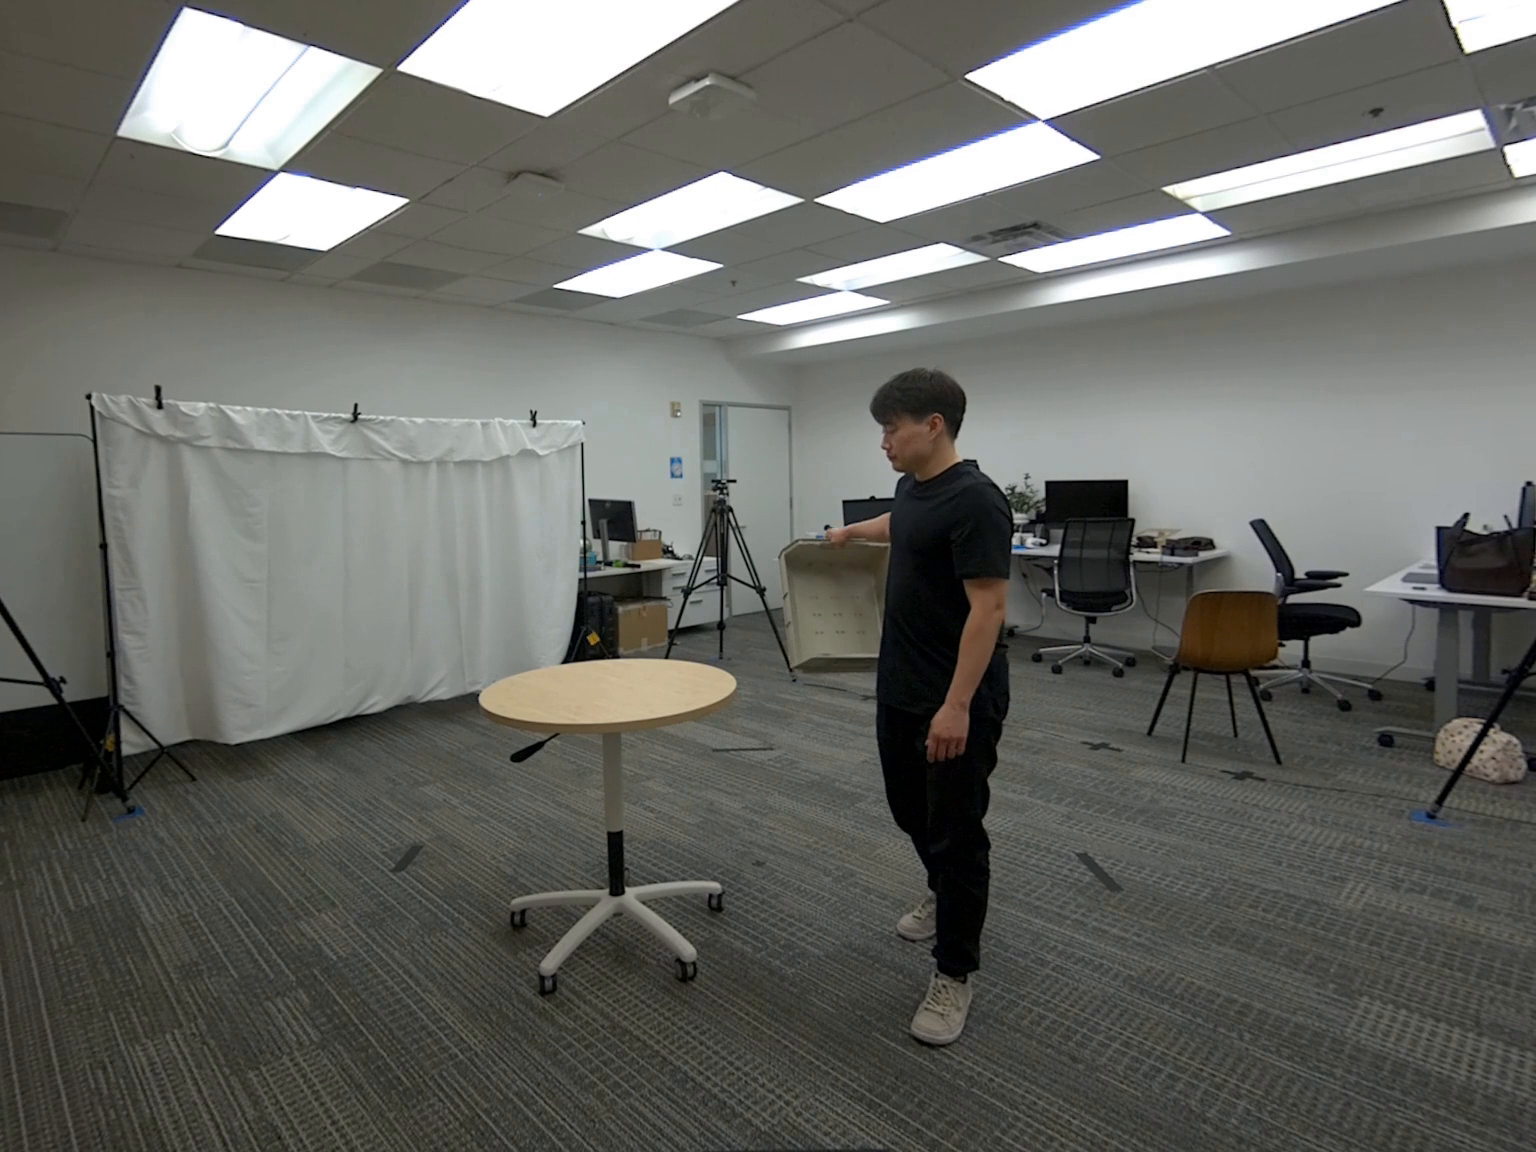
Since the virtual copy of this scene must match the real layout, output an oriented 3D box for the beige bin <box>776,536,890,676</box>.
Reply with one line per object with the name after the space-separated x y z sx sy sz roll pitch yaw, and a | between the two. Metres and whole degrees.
0.256 0.099 2.896 0.372 0.432 0.187 1 -26 -14 | beige bin
